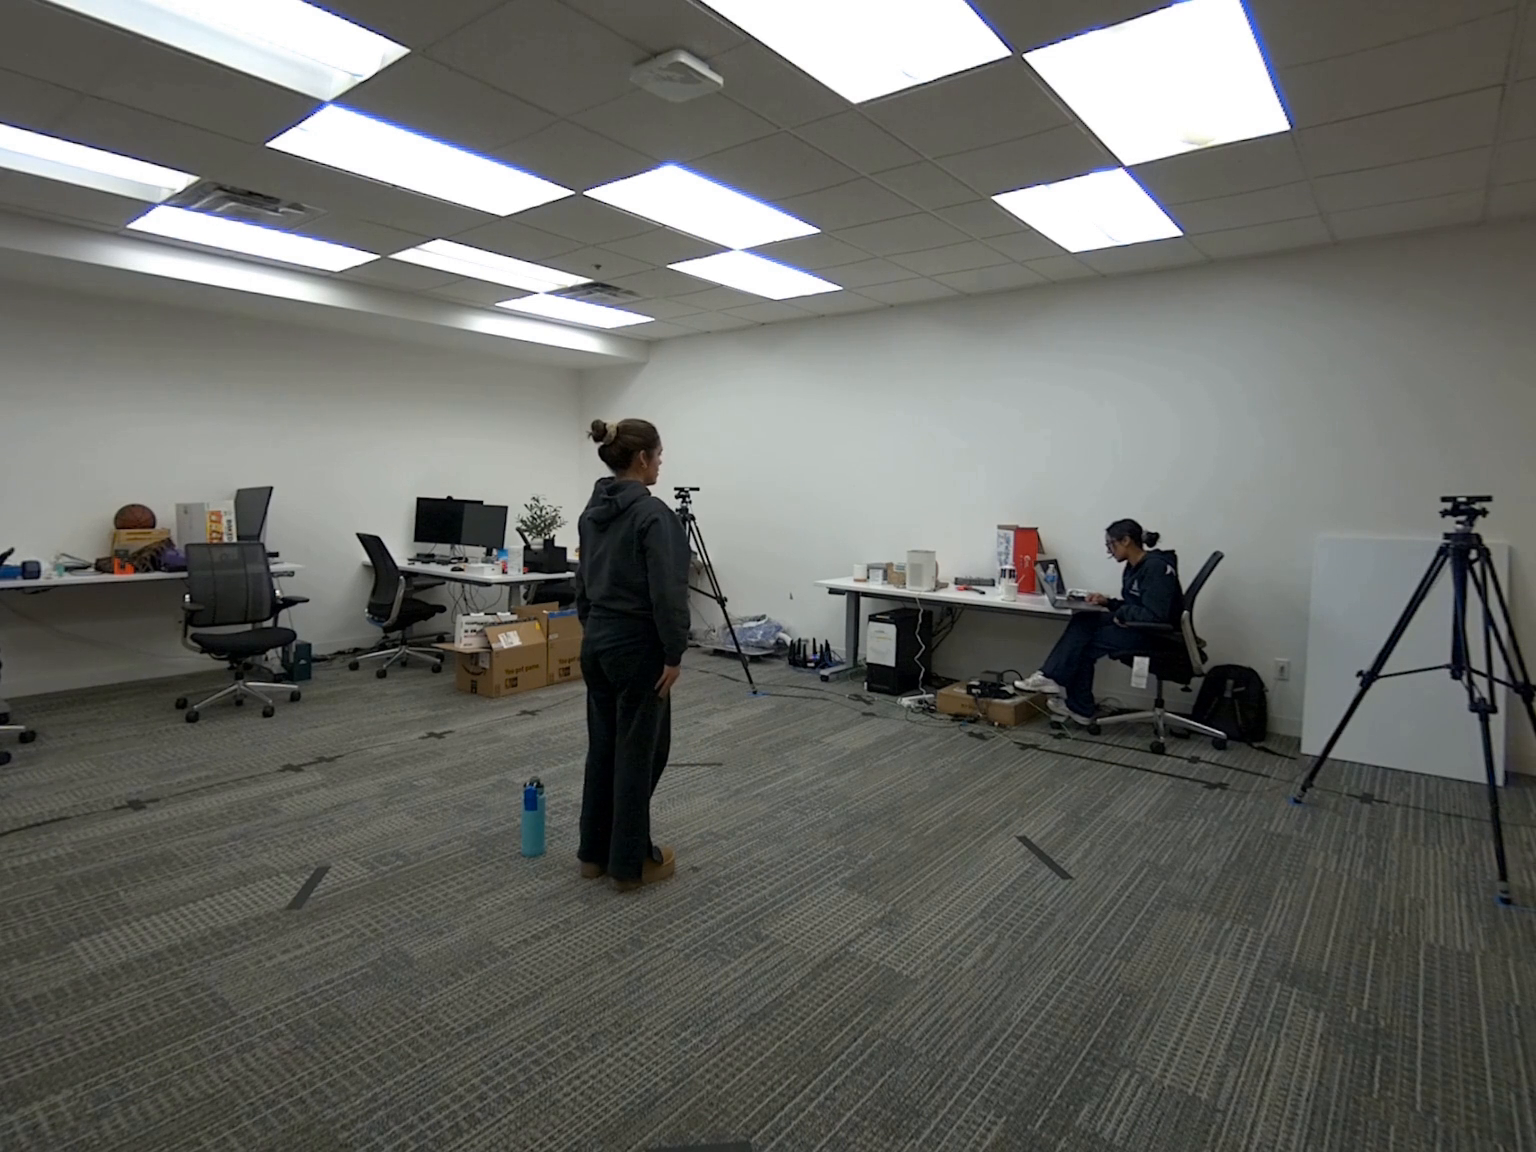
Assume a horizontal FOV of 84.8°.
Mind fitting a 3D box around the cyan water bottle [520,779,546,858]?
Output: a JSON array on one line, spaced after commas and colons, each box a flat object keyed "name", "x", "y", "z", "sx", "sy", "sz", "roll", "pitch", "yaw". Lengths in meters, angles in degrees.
[{"name": "cyan water bottle", "x": -0.887, "y": 0.905, "z": 3.219, "sx": 0.092, "sy": 0.282, "sz": 0.093, "roll": 3, "pitch": 4, "yaw": -2}]
